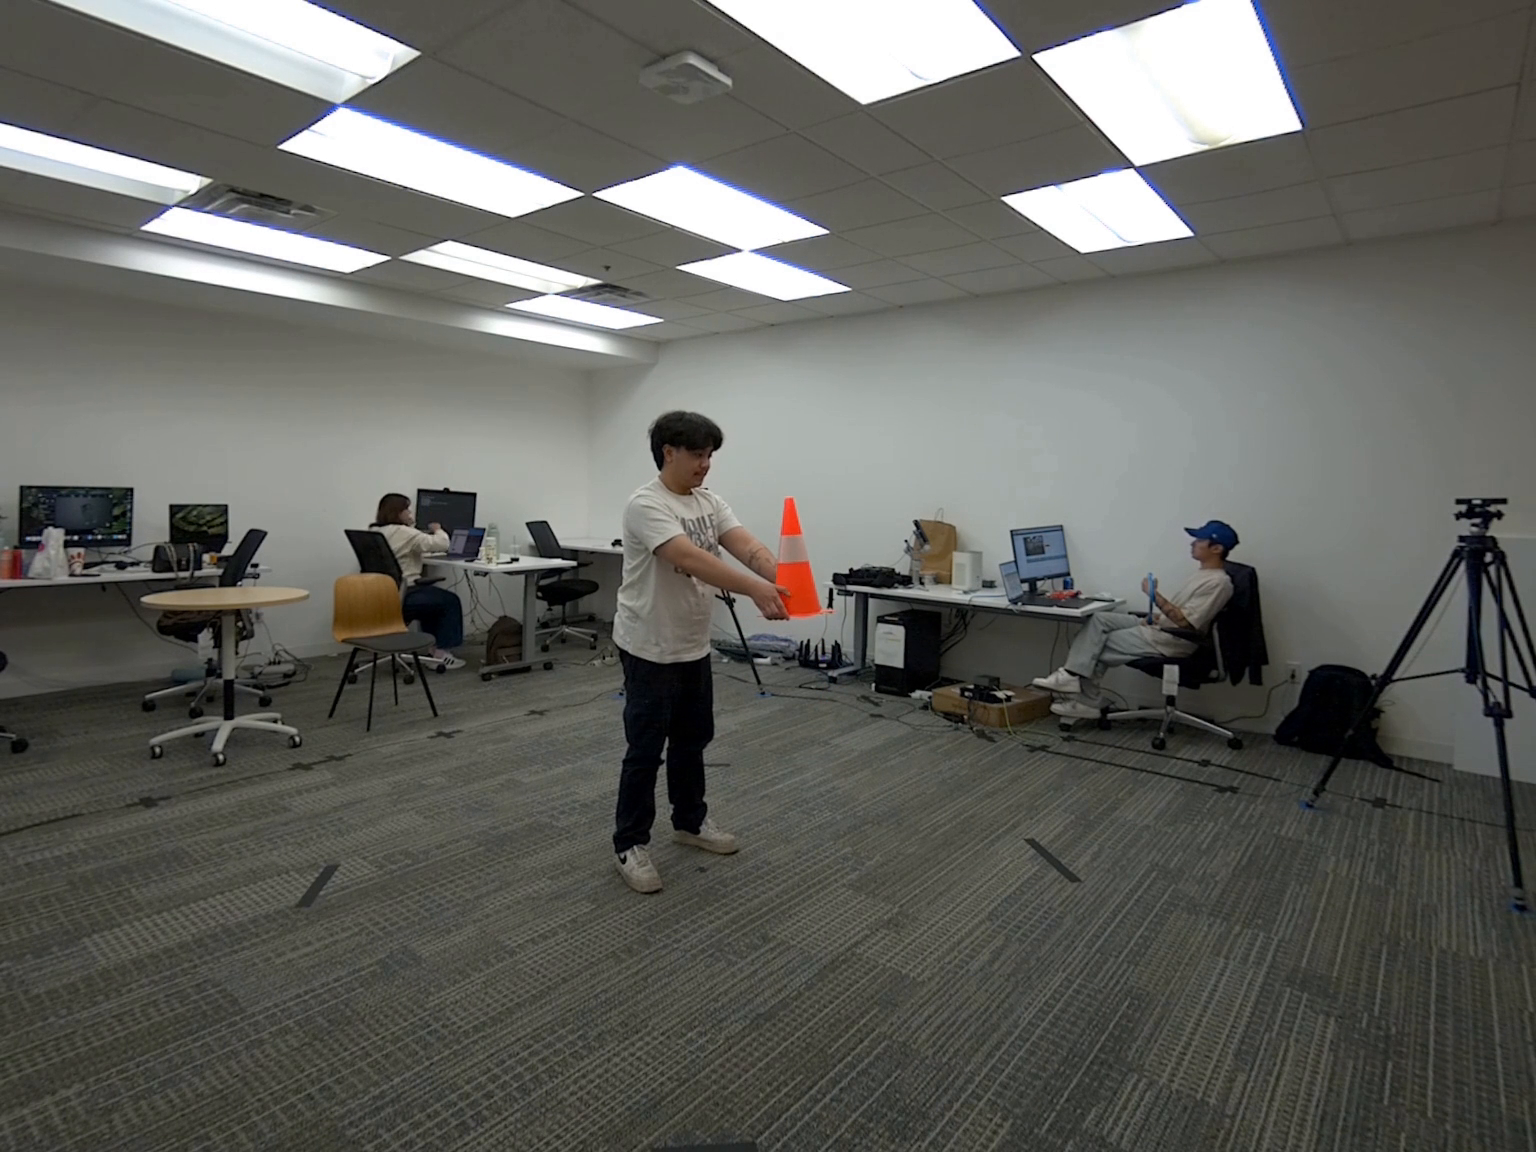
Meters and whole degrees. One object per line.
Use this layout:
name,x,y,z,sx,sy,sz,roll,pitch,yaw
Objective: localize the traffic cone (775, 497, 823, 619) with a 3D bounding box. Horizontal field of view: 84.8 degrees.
traffic cone,0.079,-0.071,2.802,0.208,0.384,0.200,-4,0,25
